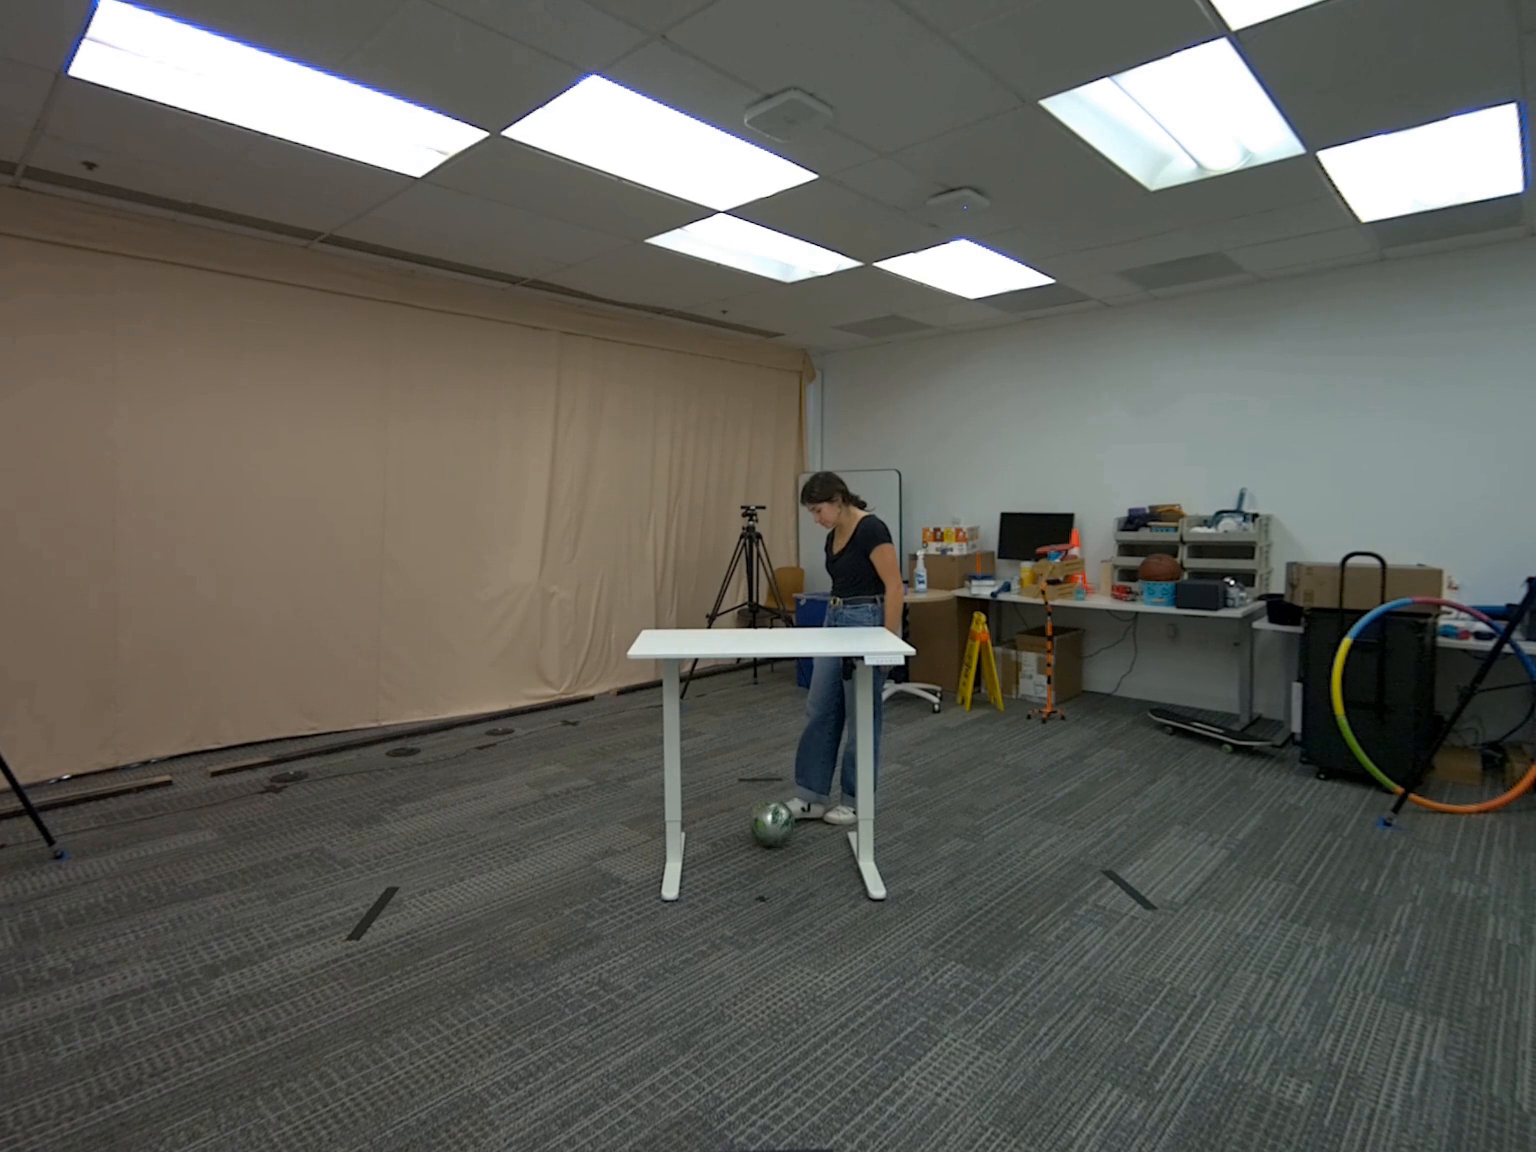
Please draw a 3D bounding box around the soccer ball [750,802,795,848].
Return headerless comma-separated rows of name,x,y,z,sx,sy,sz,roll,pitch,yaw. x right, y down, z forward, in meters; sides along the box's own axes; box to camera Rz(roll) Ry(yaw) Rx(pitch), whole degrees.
soccer ball,0.022,1.012,3.445,0.187,0.187,0.188,0,4,-2
